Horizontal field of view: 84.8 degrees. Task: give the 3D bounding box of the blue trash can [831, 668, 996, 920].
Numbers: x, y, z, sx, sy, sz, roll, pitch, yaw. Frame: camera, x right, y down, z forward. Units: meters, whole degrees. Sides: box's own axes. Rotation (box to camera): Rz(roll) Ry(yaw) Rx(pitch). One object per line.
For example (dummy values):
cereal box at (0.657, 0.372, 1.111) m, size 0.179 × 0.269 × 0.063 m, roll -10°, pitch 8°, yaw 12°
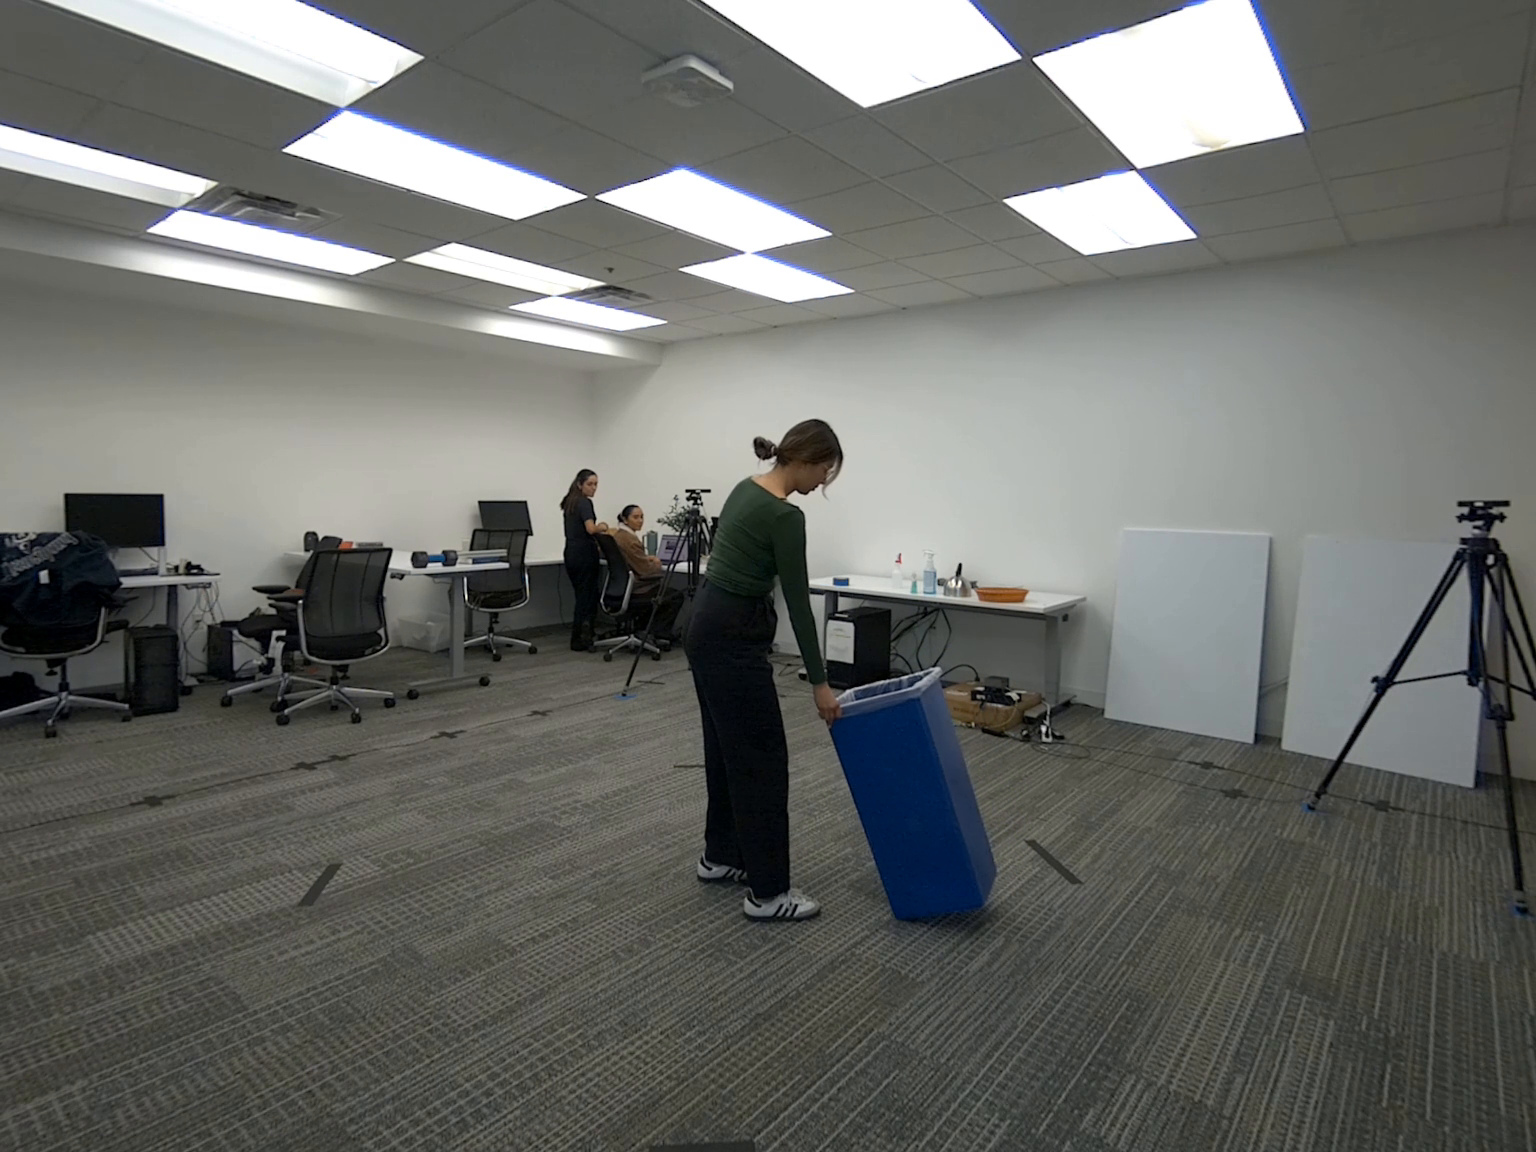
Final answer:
blue trash can at (0.495, 0.728, 2.892) m, size 0.379 × 0.719 × 0.370 m, roll -21°, pitch -6°, yaw 24°
